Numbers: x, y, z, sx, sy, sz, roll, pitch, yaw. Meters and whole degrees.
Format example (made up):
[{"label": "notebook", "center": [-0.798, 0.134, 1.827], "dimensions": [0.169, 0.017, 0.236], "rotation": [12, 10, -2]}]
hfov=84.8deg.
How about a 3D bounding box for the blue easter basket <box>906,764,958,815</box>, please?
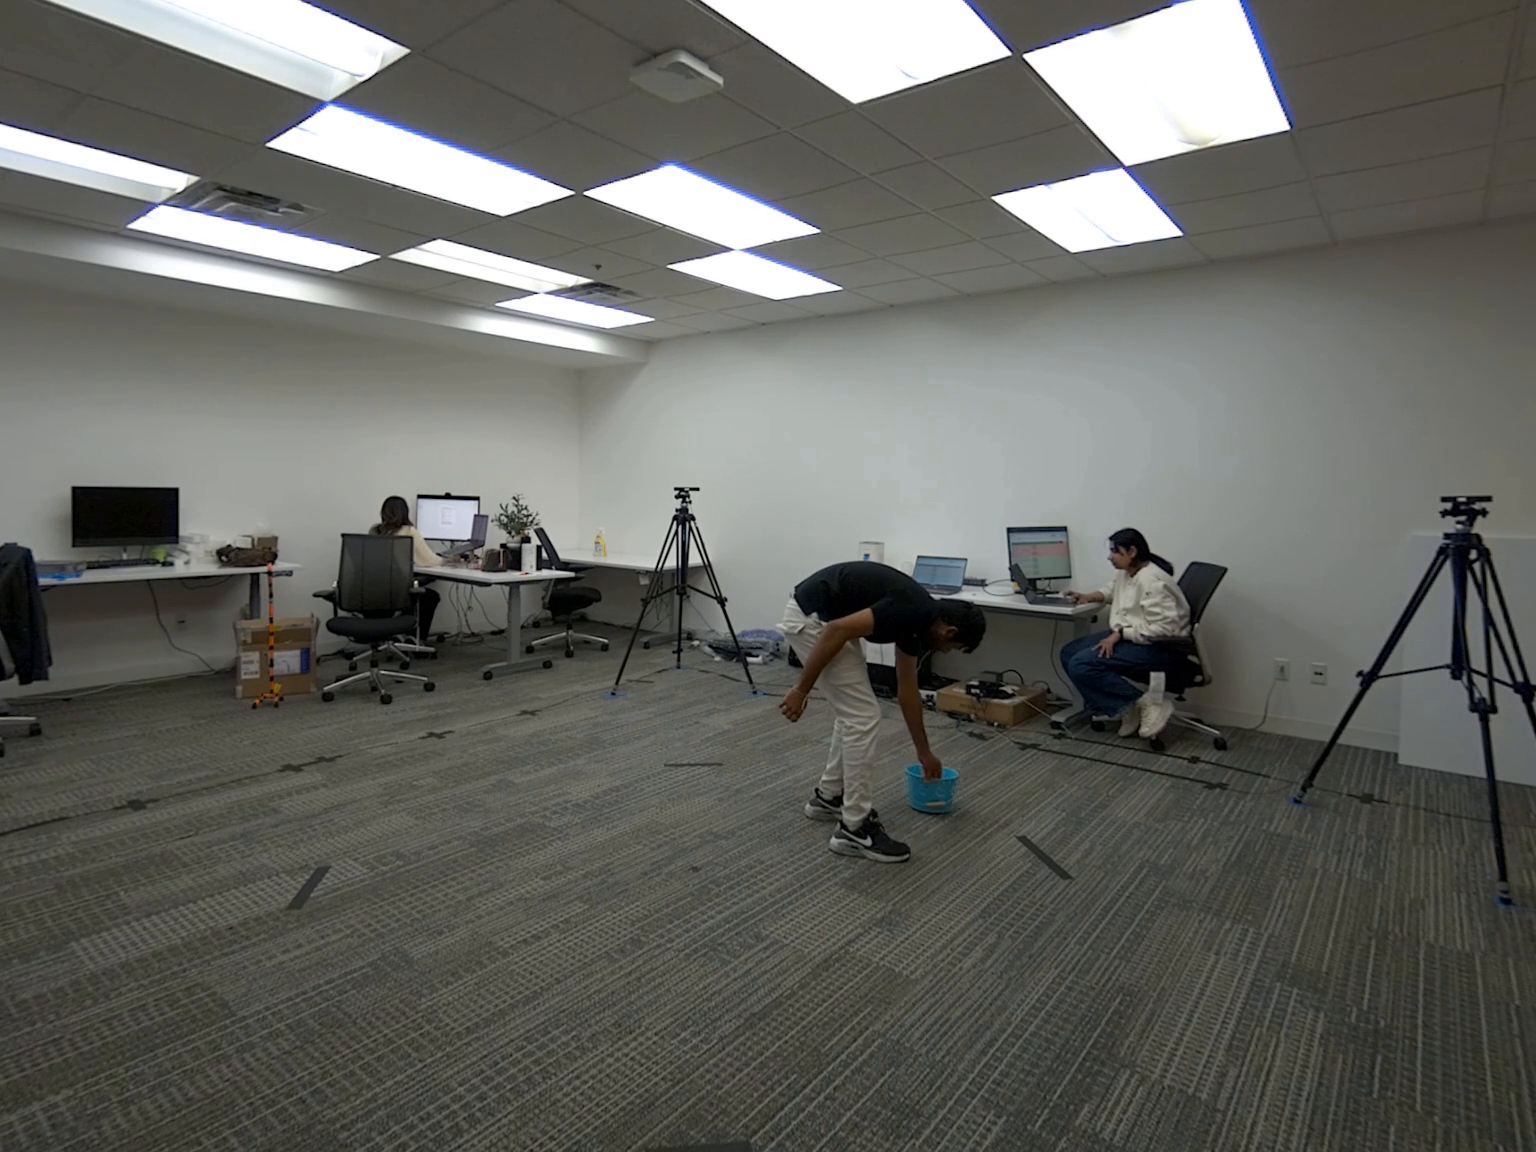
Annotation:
[{"label": "blue easter basket", "center": [0.710, 0.940, 3.767], "dimensions": [0.243, 0.156, 0.244], "rotation": [1, 3, -2]}]
